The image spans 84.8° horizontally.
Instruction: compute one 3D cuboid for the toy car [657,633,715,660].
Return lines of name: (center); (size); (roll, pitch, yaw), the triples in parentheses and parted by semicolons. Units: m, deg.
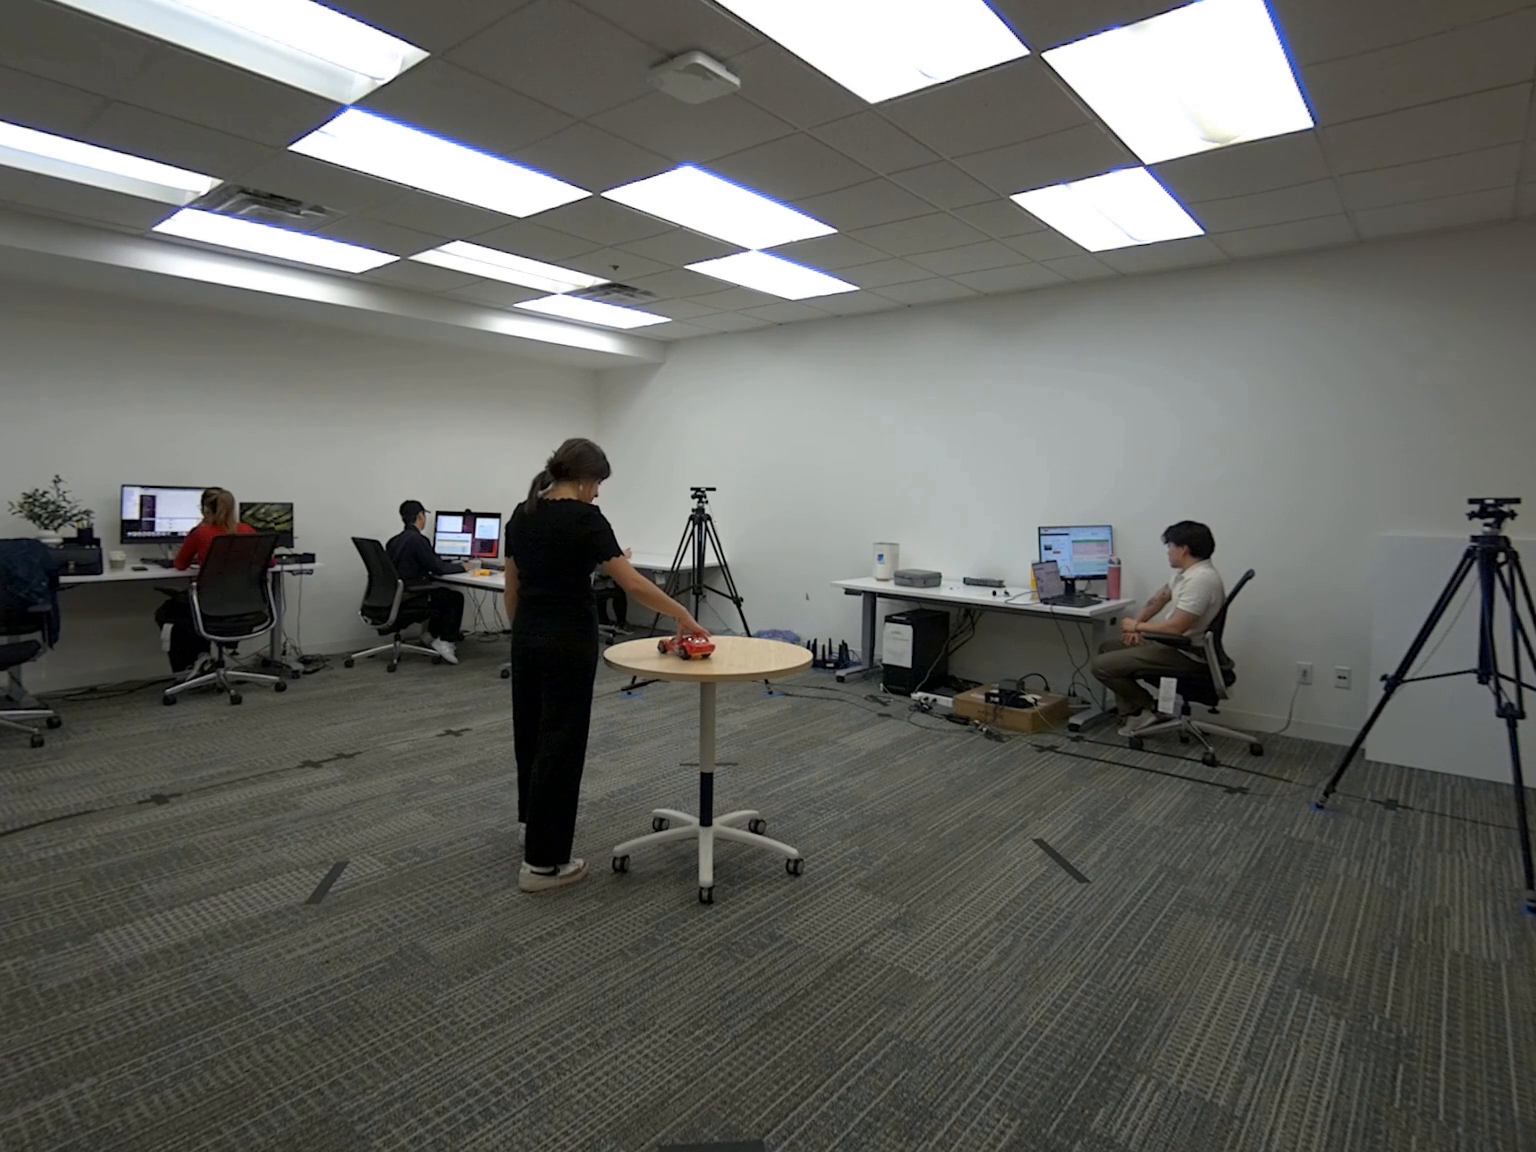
toy car: (-0.301, 0.256, 3.059); (0.126, 0.083, 0.261); (-4, -4, -37)
